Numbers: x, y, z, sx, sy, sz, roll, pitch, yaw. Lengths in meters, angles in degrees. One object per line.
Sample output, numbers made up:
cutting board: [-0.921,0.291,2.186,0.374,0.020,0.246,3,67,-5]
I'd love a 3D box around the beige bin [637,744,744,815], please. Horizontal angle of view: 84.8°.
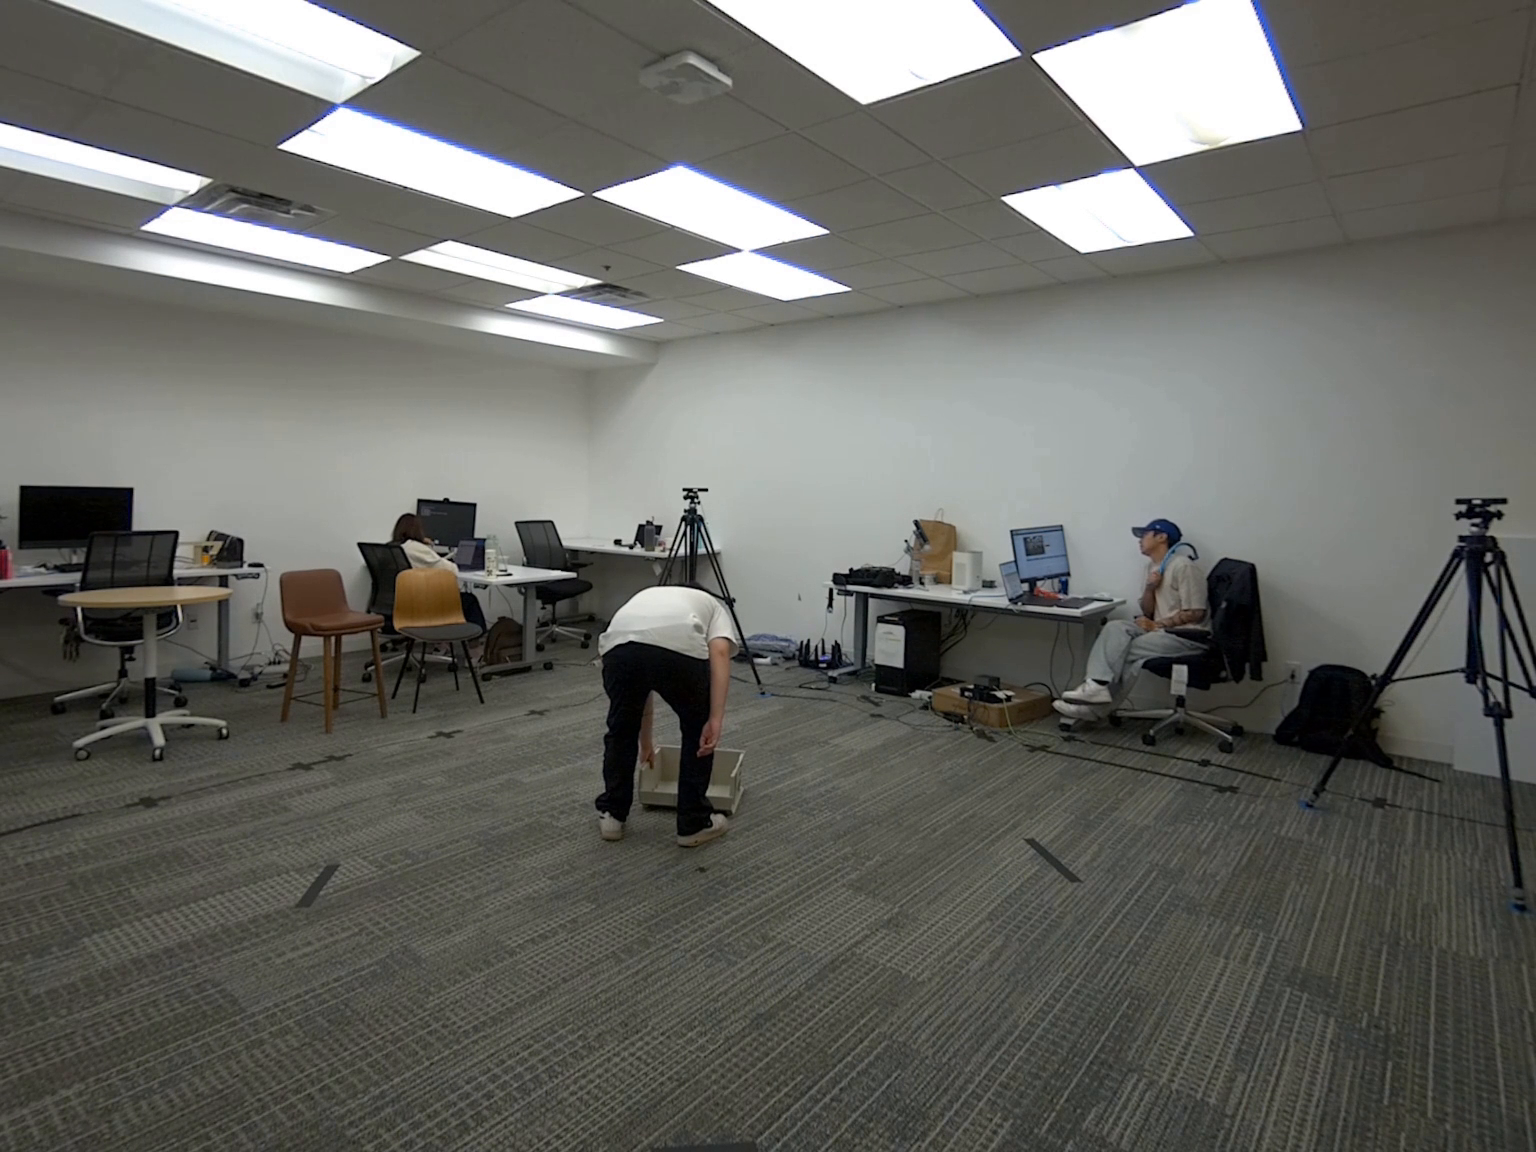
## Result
beige bin: [-0.343,0.909,3.804,0.426,0.188,0.375,1,4,8]
